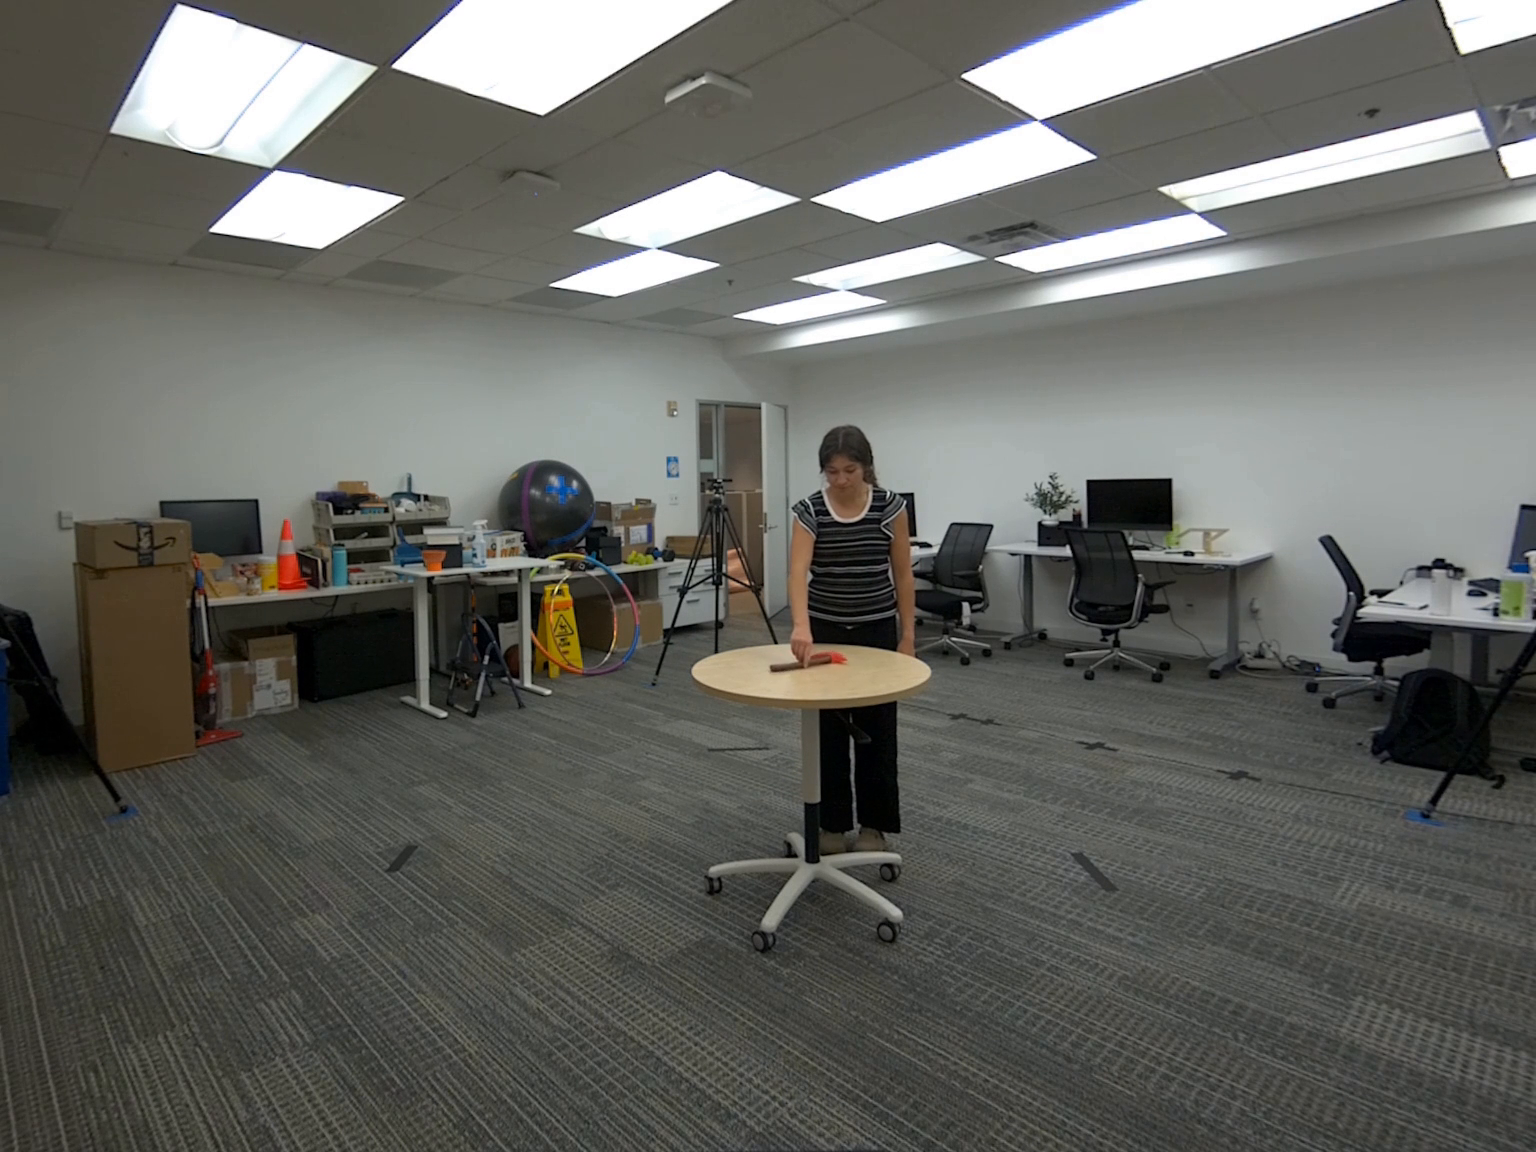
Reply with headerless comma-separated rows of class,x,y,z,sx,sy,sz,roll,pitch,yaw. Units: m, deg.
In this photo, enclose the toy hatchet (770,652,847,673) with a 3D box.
toy hatchet,0.122,0.281,2.802,0.266,0.029,0.134,-4,9,-17
